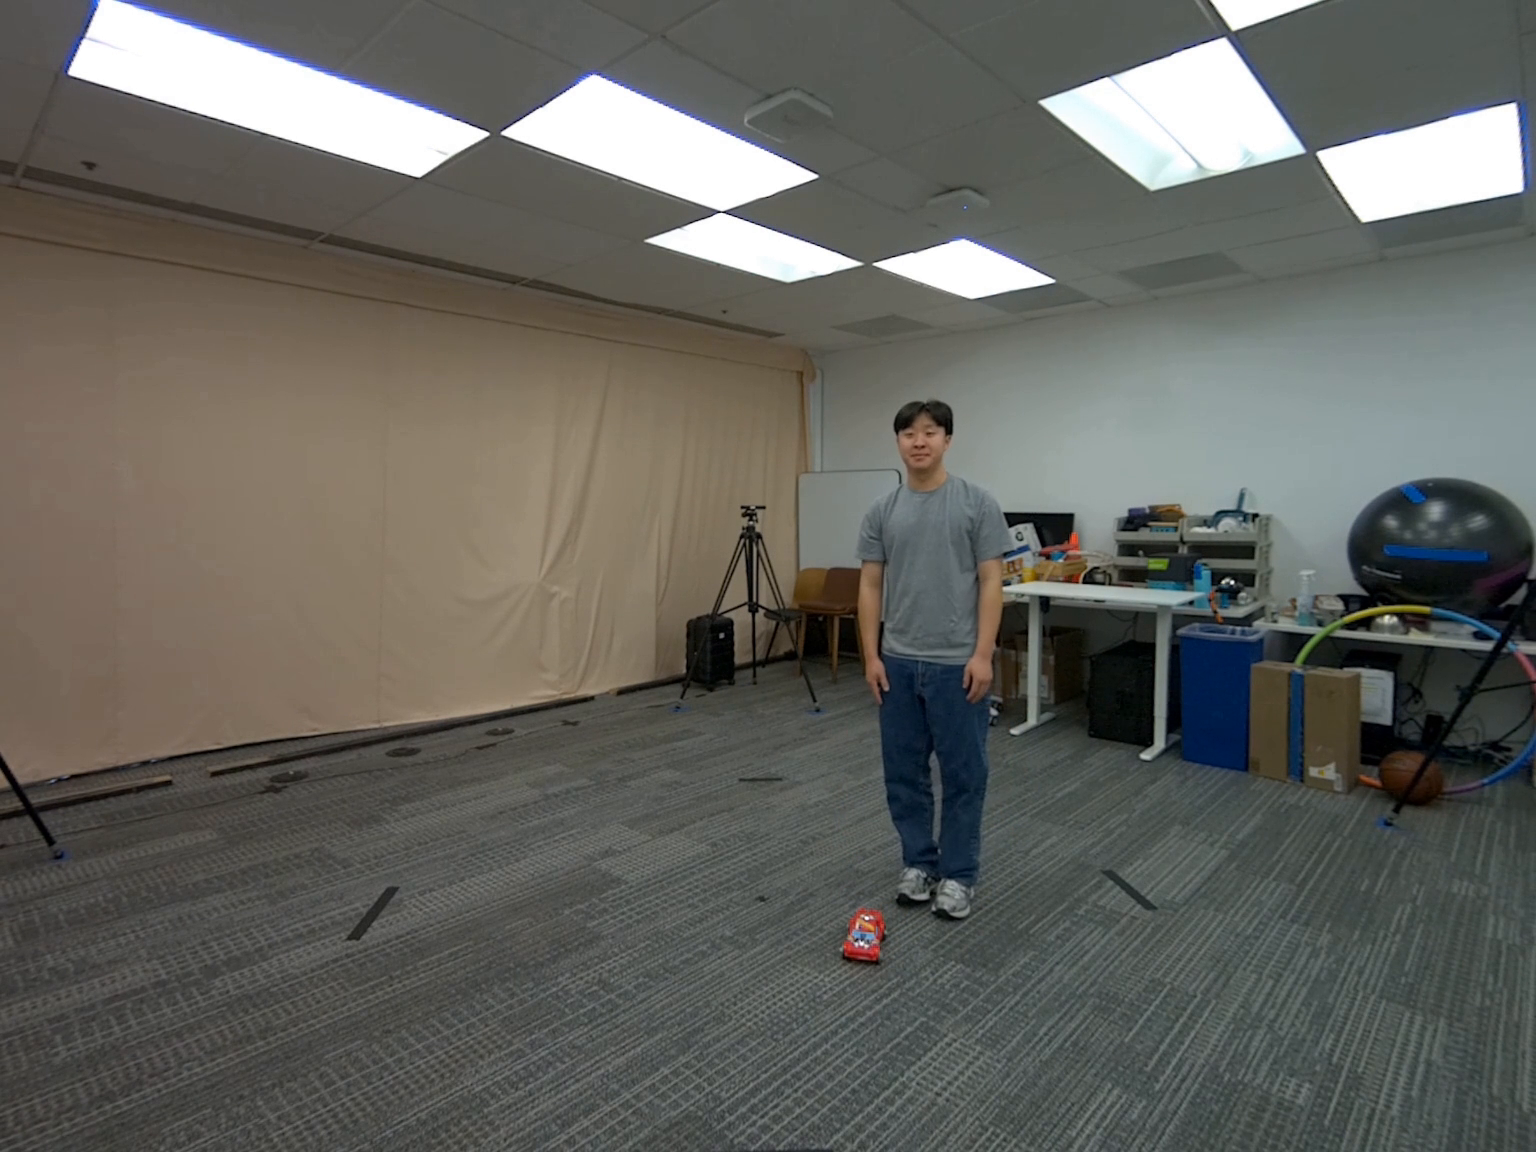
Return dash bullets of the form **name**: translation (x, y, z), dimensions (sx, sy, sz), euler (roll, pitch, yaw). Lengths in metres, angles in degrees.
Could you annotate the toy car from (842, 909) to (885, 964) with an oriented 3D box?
- **toy car**: translation (0.312, 1.138, 2.659), dimensions (0.132, 0.082, 0.253), euler (1, 16, 14)
